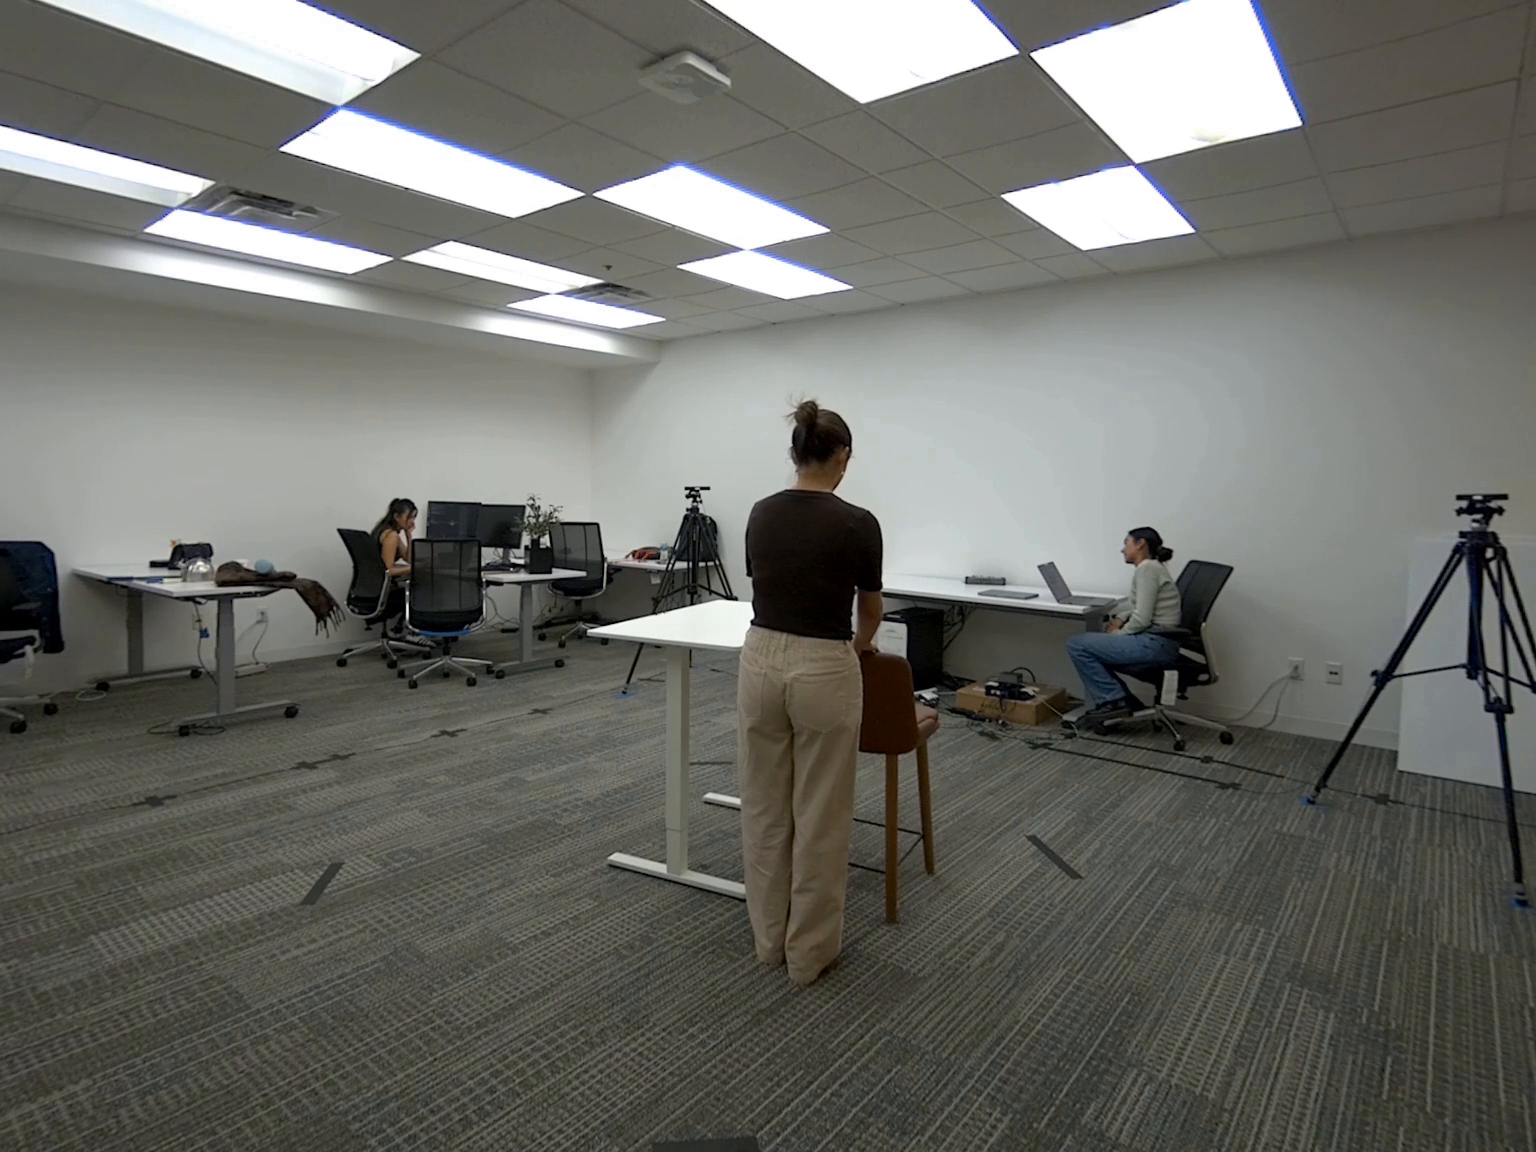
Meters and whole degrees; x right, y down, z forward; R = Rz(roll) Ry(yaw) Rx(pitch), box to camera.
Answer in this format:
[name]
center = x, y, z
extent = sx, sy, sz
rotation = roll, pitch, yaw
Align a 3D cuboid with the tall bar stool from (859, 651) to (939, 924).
[tall bar stool]
center = 0.330, 0.651, 2.985
extent = 0.469, 0.885, 0.457
rotation = 2, 7, 27
